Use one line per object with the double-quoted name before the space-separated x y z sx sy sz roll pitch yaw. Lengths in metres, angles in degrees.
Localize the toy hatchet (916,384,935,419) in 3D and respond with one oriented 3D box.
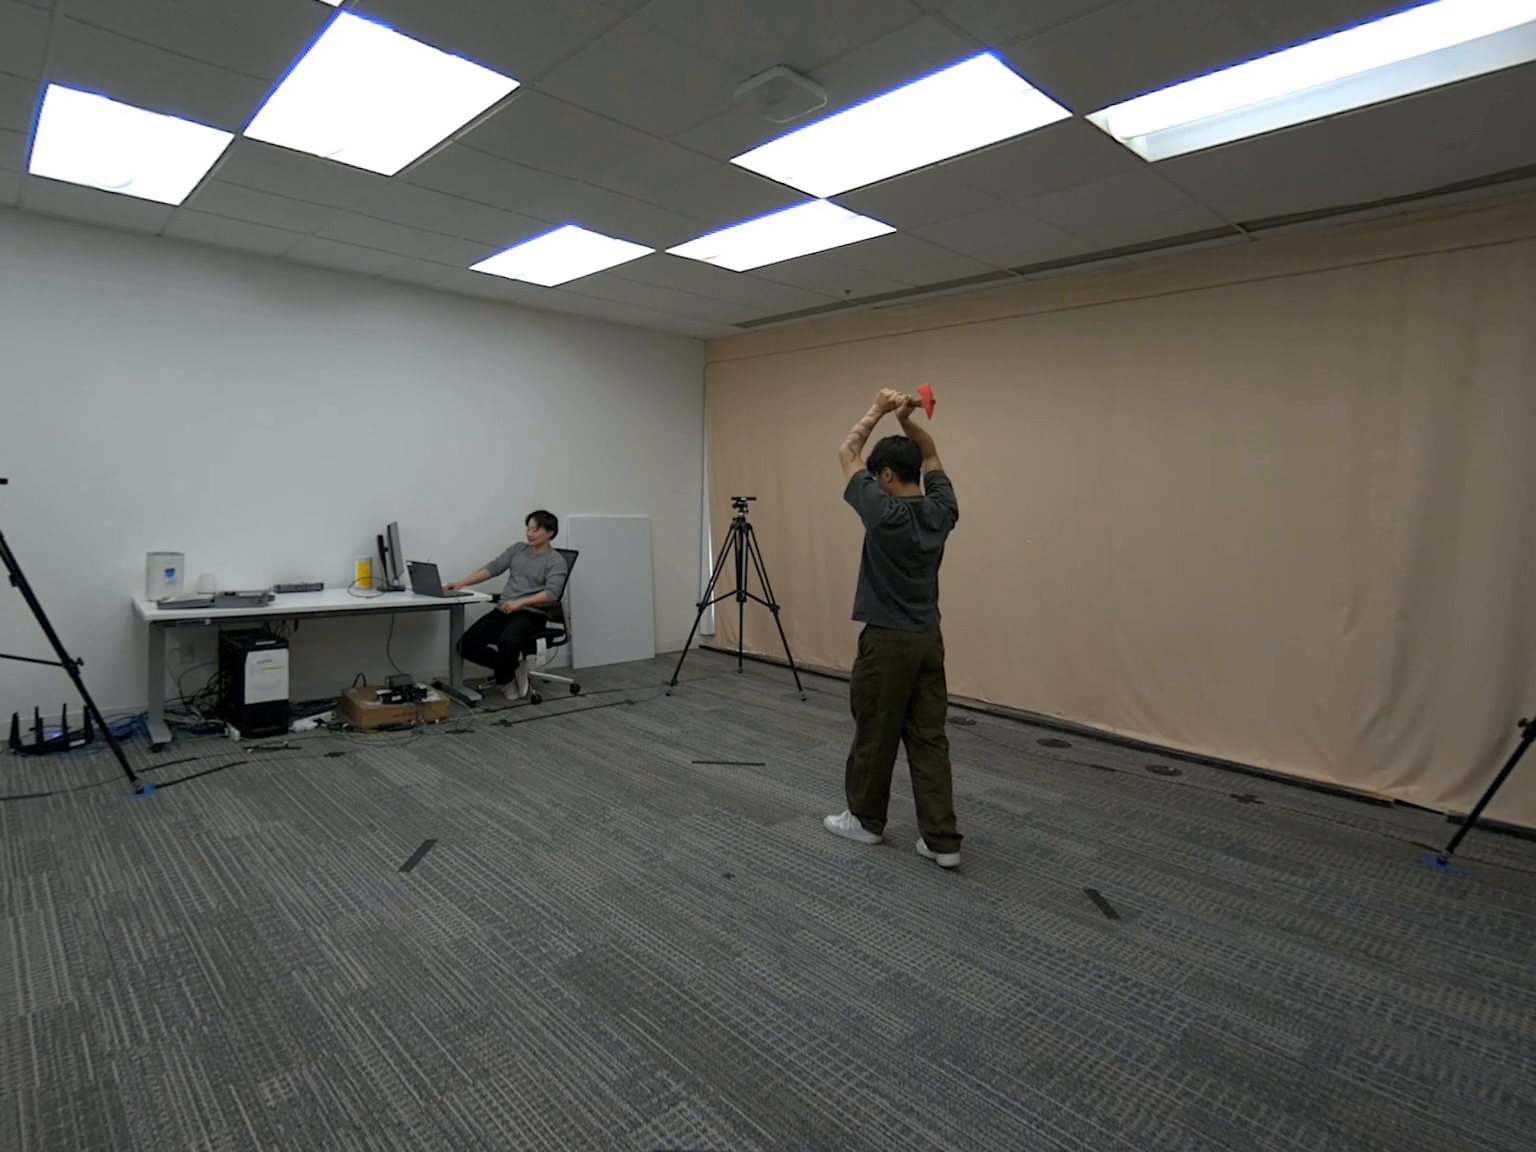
"toy hatchet" 0.574 -0.707 3.291 0.029 0.128 0.278 -14 29 -16
